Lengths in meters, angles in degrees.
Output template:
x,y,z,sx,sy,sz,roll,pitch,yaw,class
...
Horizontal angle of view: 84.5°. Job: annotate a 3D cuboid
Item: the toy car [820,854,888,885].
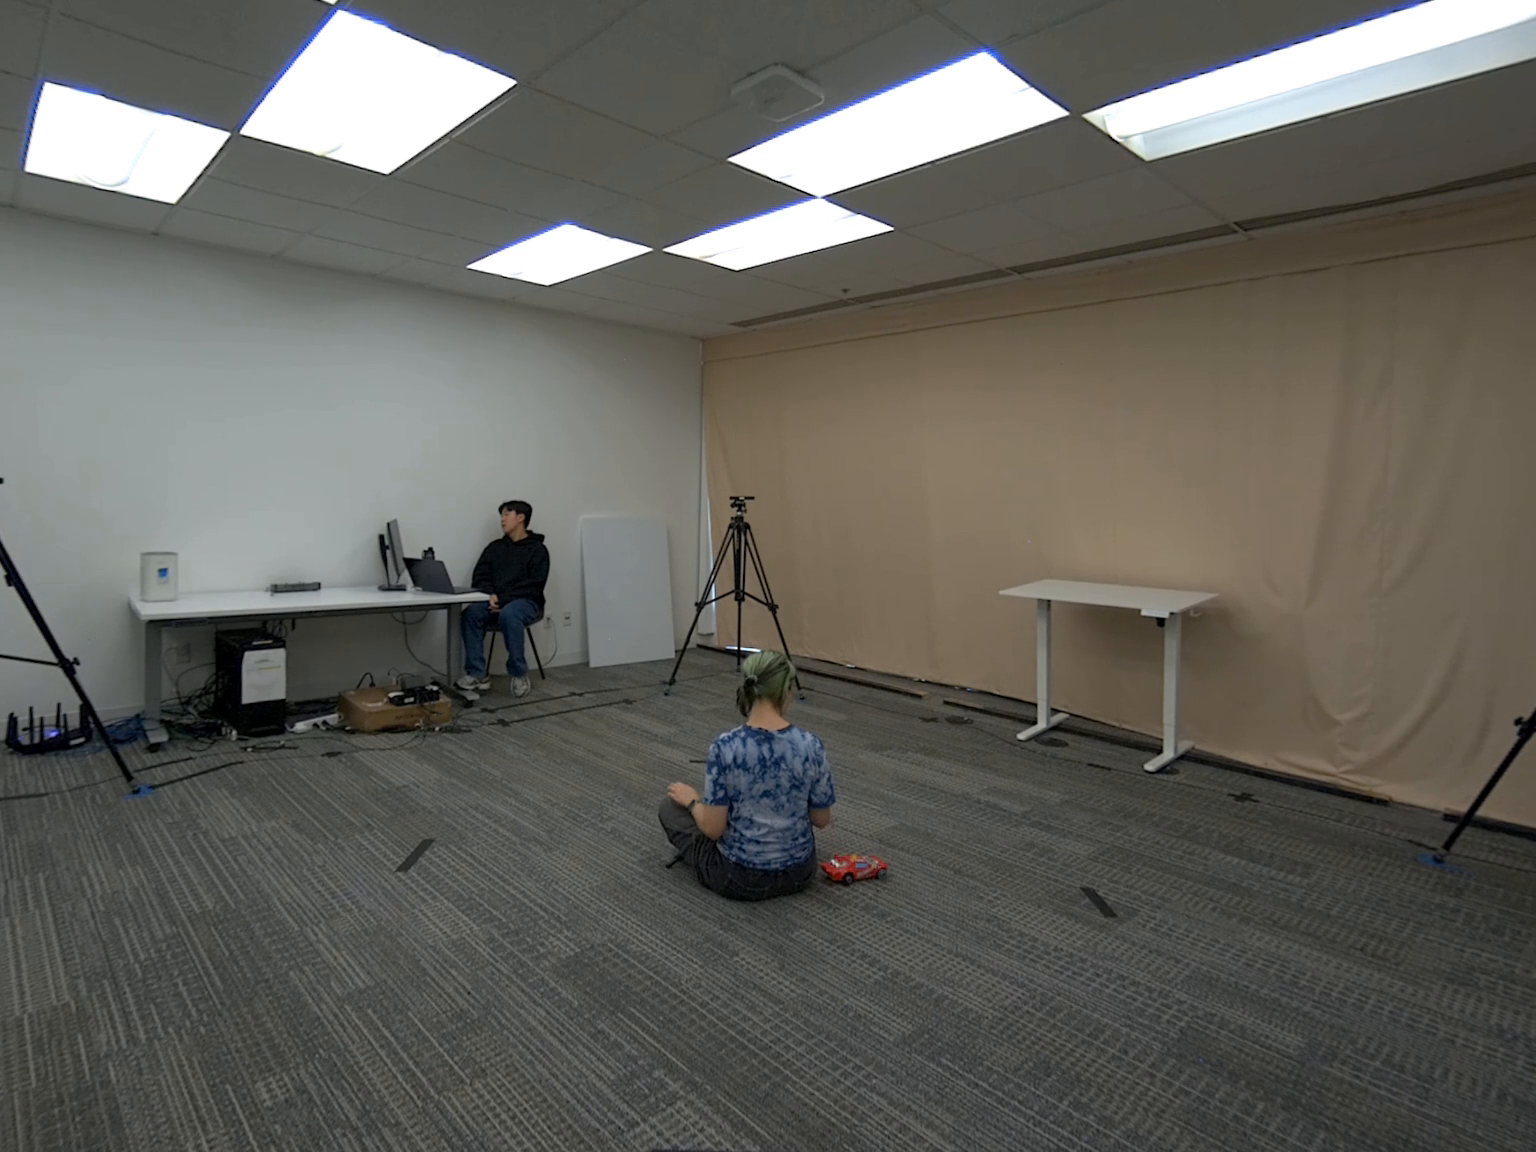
x,y,z,sx,sy,sz,roll,pitch,yaw,class
0.304,1.079,3.109,0.249,0.083,0.133,12,0,-24,toy car
